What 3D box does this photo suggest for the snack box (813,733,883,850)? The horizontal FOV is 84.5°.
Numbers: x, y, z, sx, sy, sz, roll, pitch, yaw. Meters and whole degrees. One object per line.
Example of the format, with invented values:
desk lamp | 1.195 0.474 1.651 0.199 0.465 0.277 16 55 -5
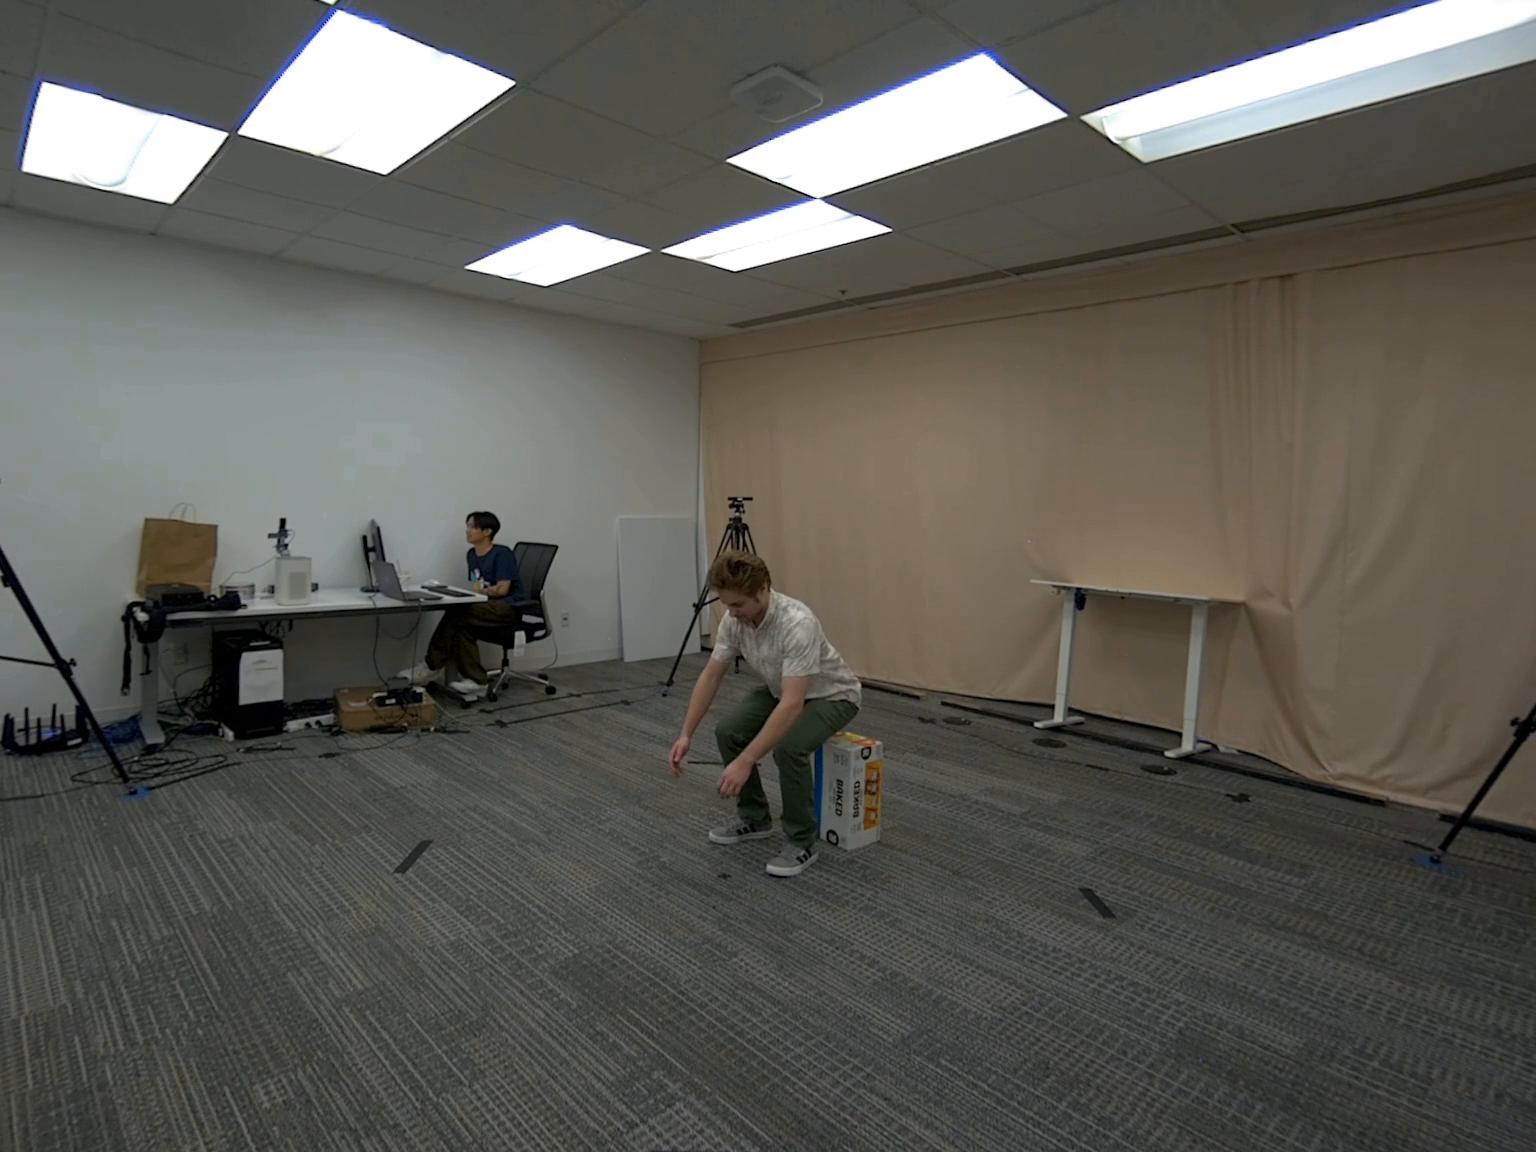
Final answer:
snack box | 0.275 0.879 3.539 0.201 0.404 0.349 -1 4 -41
